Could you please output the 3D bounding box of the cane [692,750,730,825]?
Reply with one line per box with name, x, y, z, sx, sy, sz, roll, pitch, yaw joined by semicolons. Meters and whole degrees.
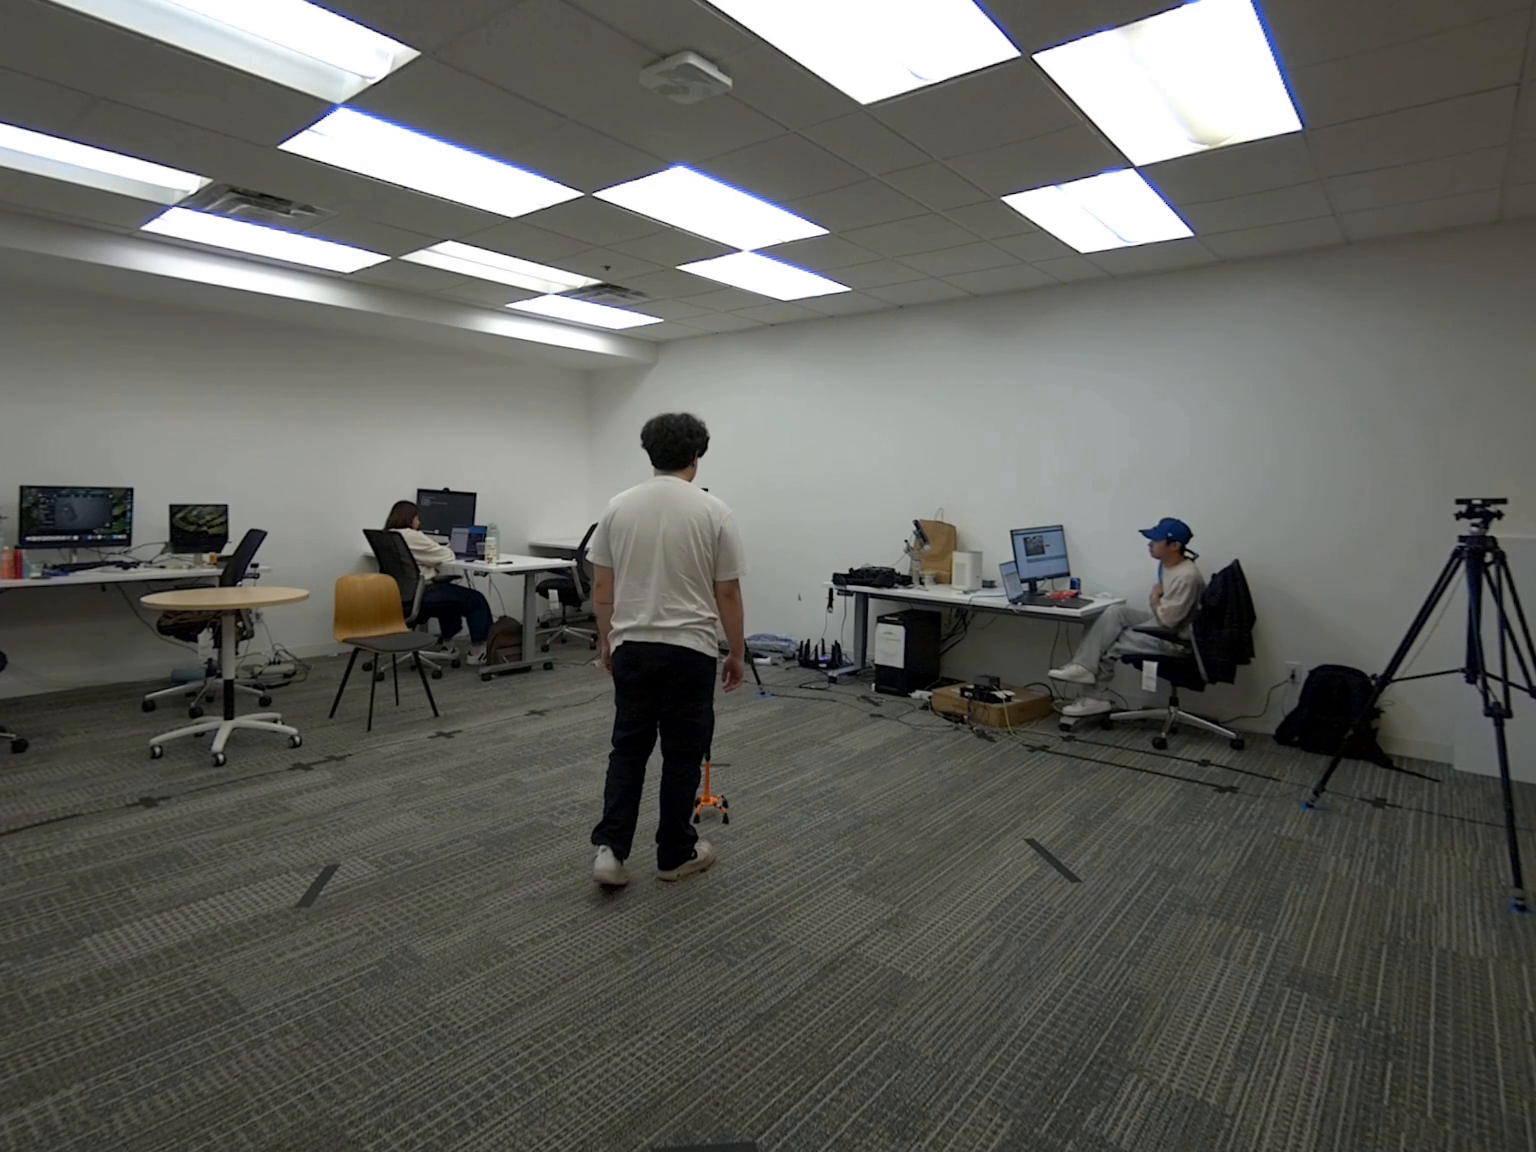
cane;-0.248;0.565;3.616;0.151;0.905;0.208;1;3;-4
